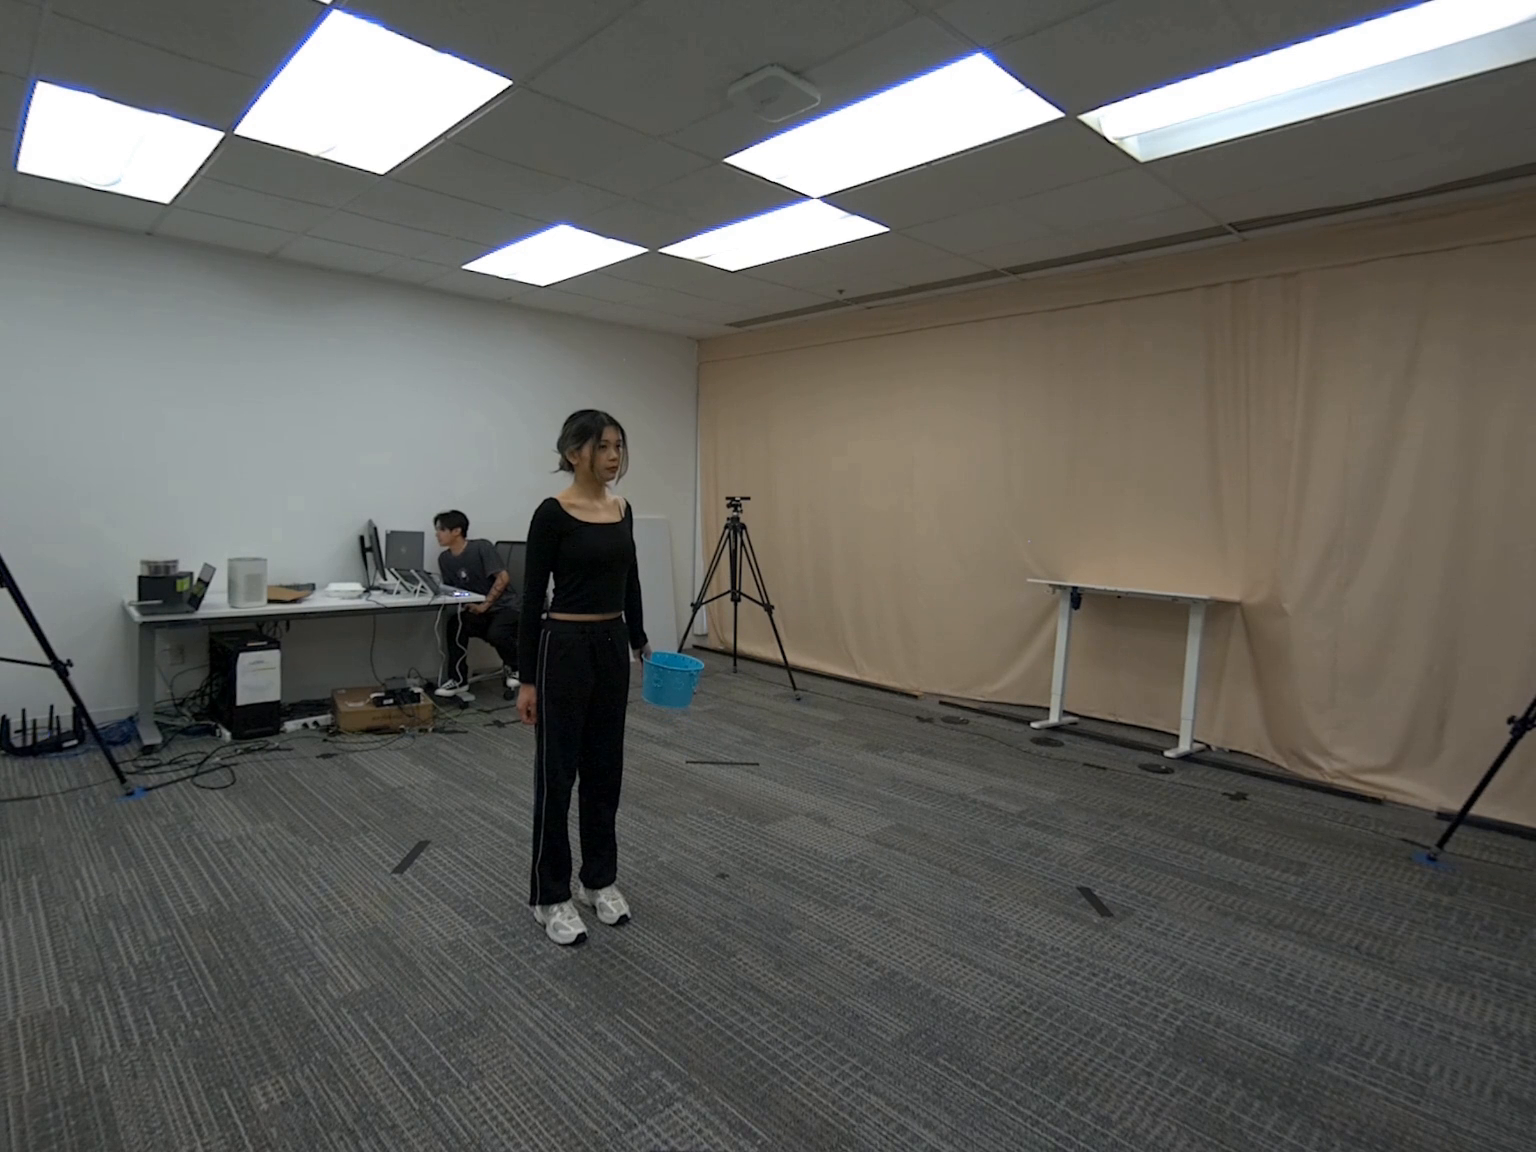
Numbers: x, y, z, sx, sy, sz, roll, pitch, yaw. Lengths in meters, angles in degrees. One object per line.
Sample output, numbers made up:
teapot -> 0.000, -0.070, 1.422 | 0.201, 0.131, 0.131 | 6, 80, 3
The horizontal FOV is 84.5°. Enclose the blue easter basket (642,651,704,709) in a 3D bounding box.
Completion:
blue easter basket -> -0.355, 0.389, 3.094 | 0.243, 0.155, 0.245 | 10, 7, -3
